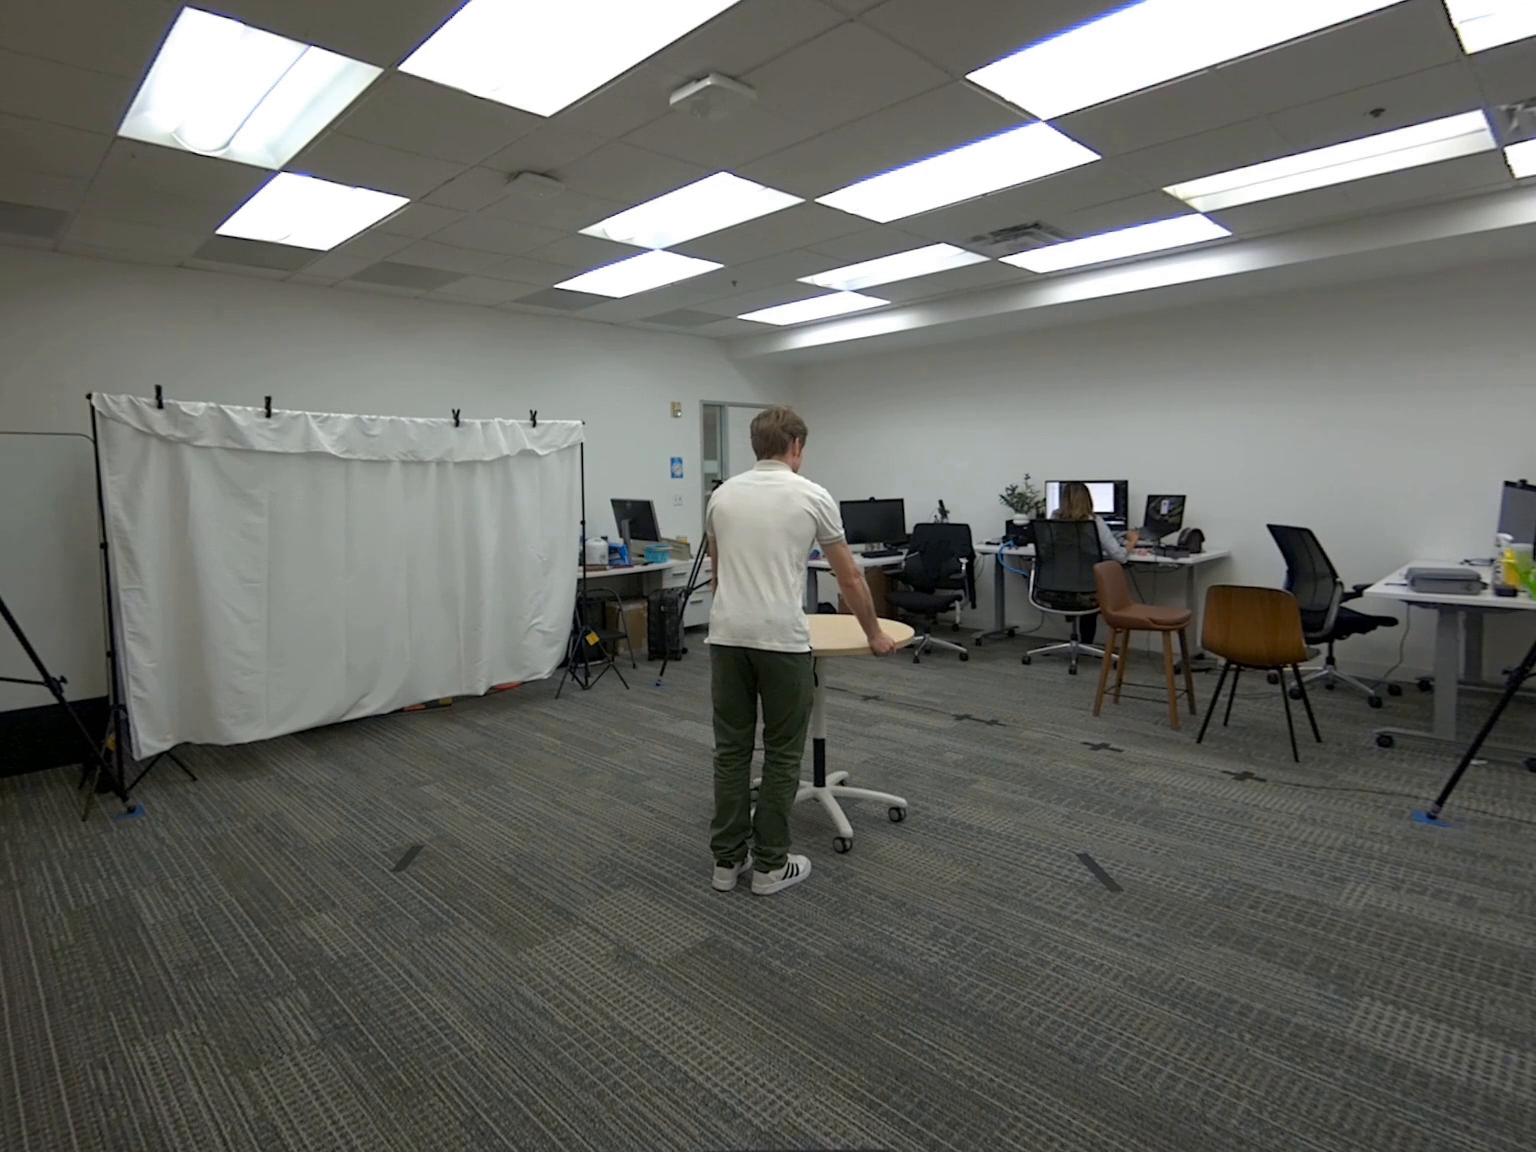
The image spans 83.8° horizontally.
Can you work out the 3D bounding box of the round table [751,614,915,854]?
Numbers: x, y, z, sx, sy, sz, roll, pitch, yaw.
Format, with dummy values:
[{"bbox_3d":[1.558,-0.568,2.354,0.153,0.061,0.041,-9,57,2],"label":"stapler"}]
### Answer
[{"bbox_3d":[0.209,0.610,3.485,0.763,0.791,0.768,-1,5,-2],"label":"round table"}]
